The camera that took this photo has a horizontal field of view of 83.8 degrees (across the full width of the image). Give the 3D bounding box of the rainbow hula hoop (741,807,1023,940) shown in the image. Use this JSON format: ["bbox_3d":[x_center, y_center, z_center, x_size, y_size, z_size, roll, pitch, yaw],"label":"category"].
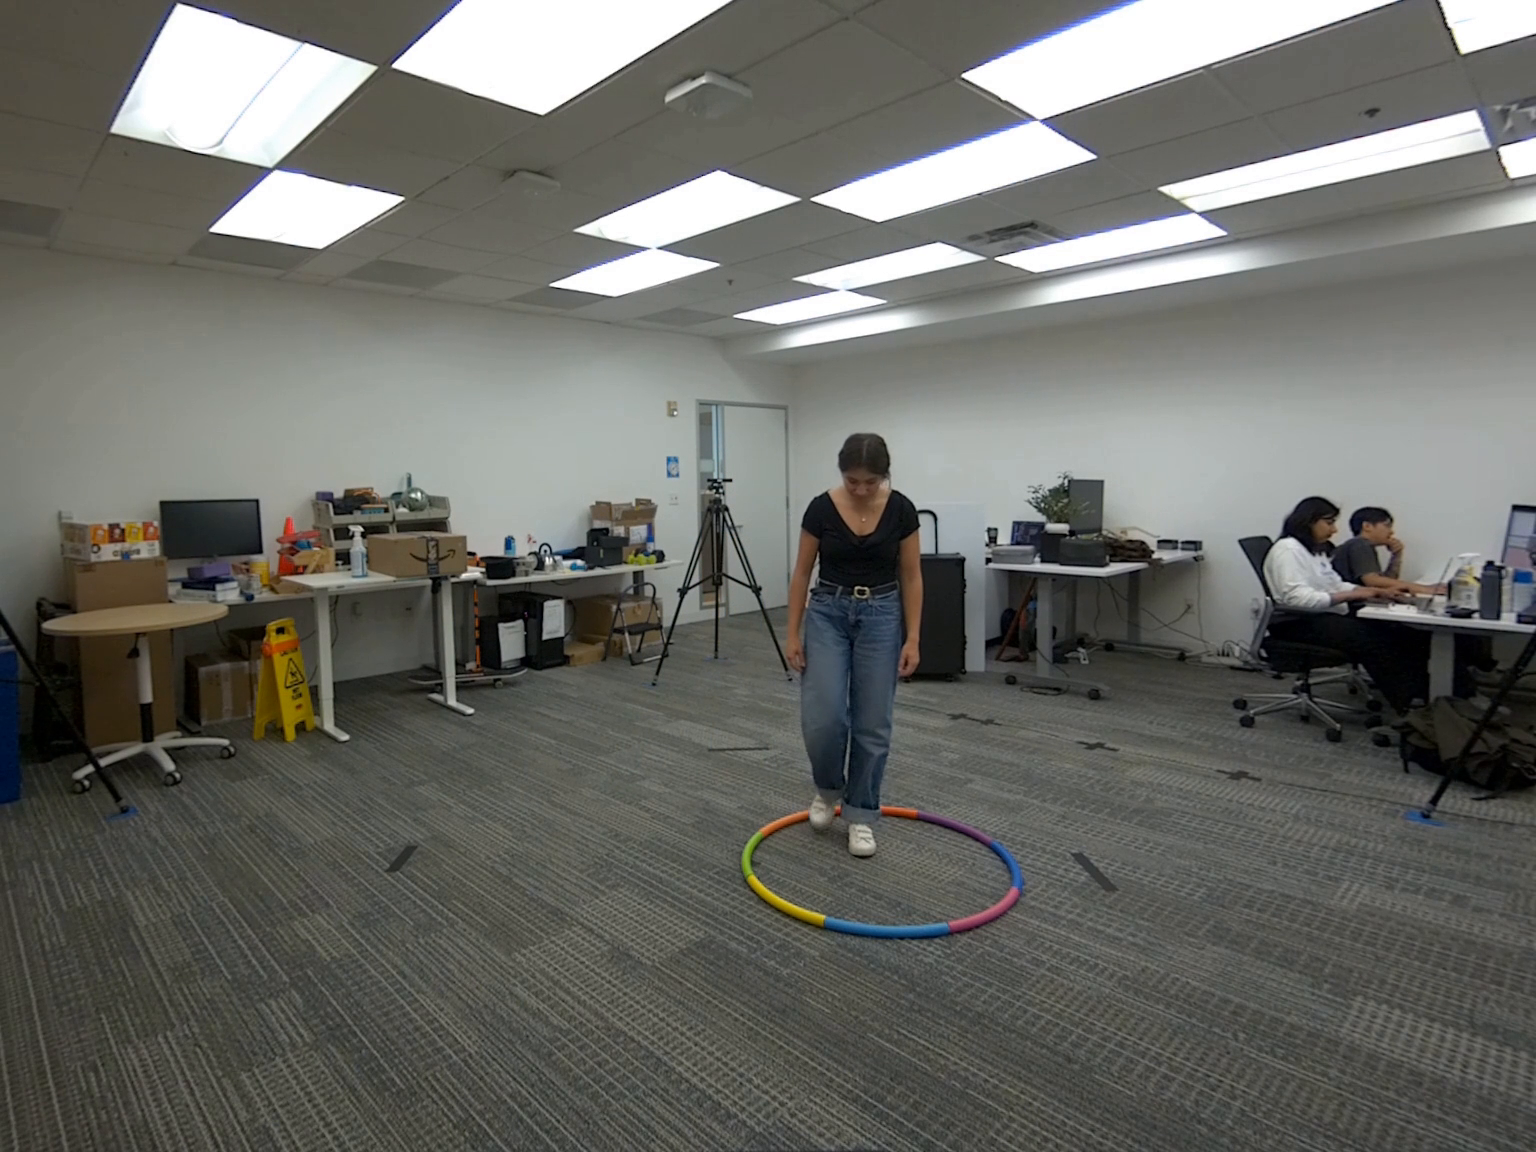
[{"bbox_3d":[0.390,1.011,3.074,0.978,0.035,0.984,-2,7,-2],"label":"rainbow hula hoop"}]
